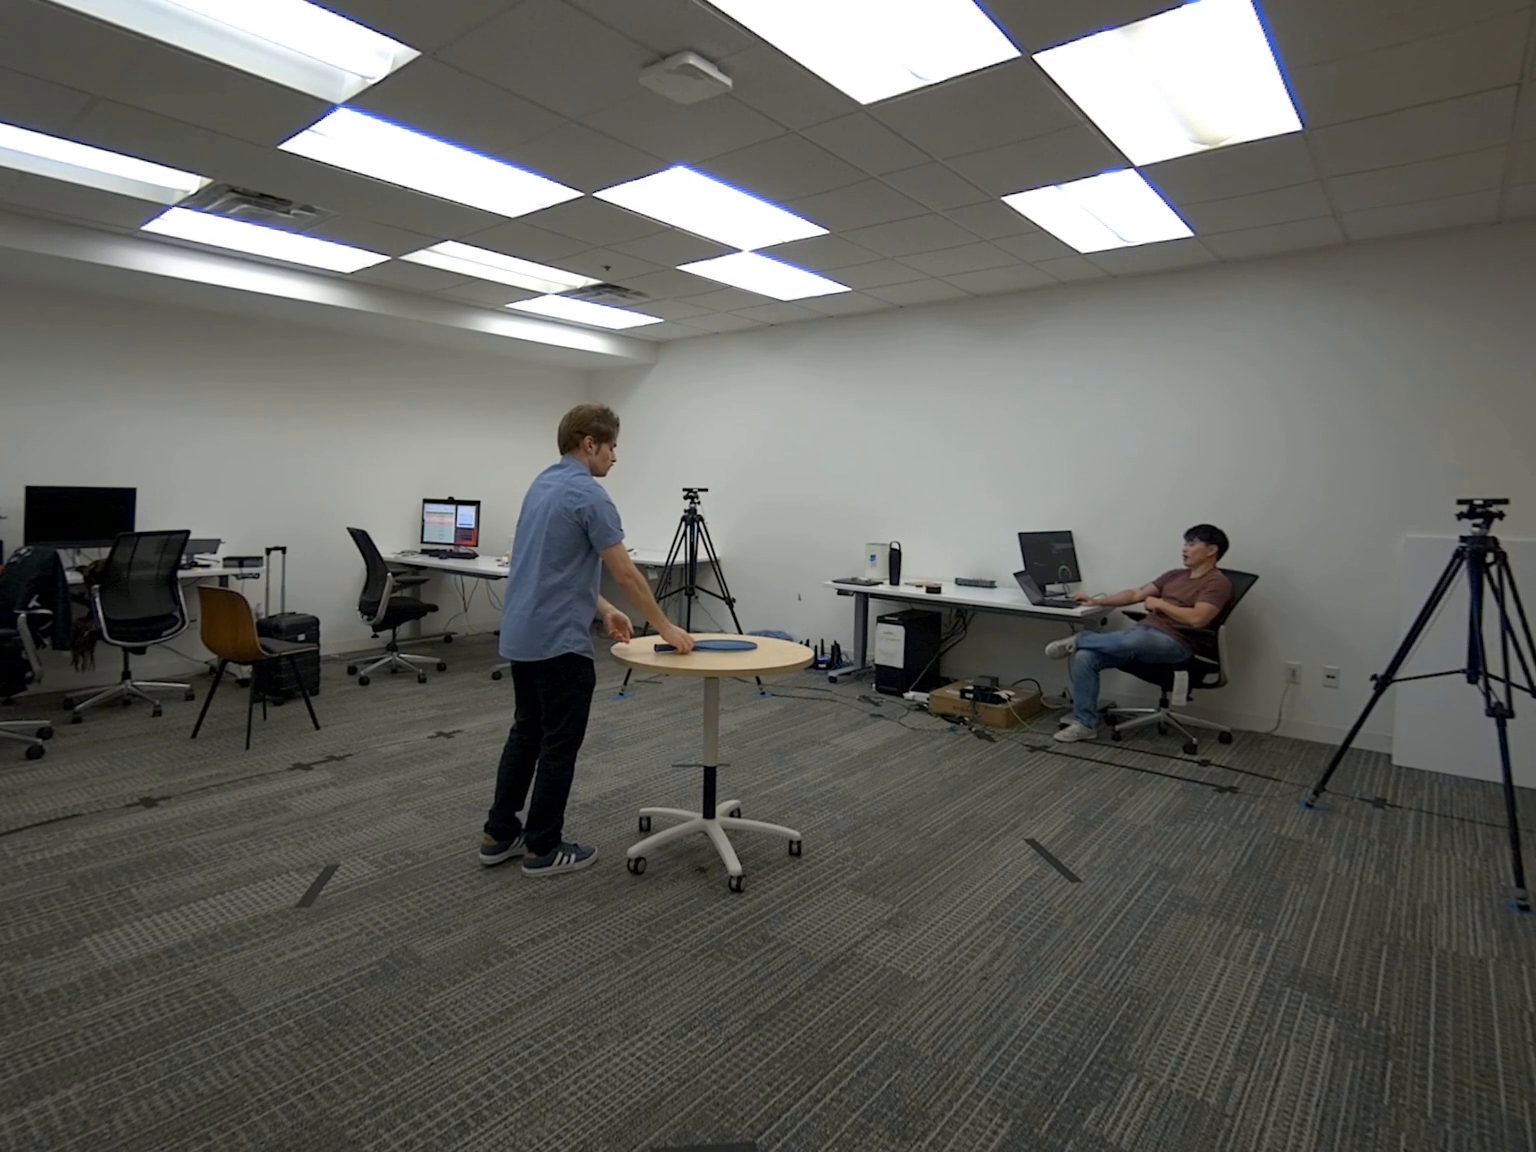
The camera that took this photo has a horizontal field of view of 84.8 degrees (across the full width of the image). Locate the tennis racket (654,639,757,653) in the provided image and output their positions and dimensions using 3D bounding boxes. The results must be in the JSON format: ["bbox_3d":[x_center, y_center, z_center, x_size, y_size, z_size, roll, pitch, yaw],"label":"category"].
[{"bbox_3d":[-0.246,0.266,3.237,0.421,0.032,0.220,0,5,-29],"label":"tennis racket"}]
